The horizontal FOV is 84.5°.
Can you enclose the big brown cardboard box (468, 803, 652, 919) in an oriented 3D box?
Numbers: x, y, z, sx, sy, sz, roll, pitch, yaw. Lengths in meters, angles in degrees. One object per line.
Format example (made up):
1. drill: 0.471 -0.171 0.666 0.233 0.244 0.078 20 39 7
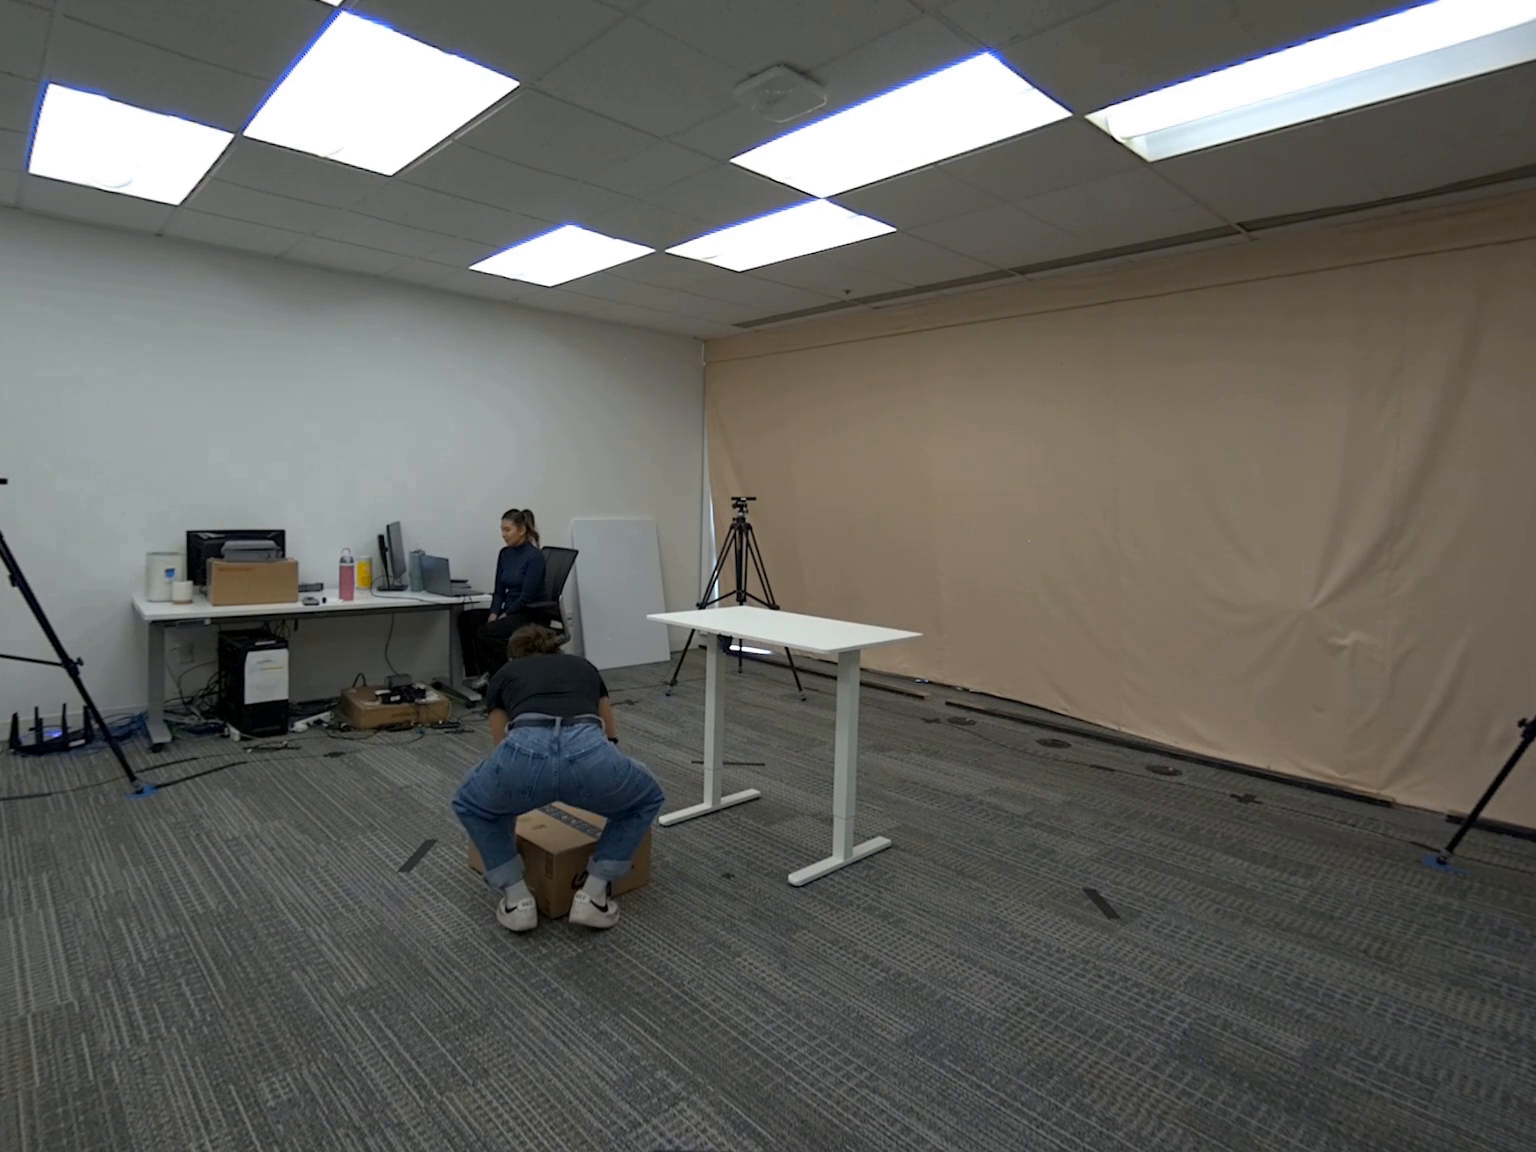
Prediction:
1. big brown cardboard box: -0.771 0.984 3.080 0.604 0.233 0.408 6 5 44
